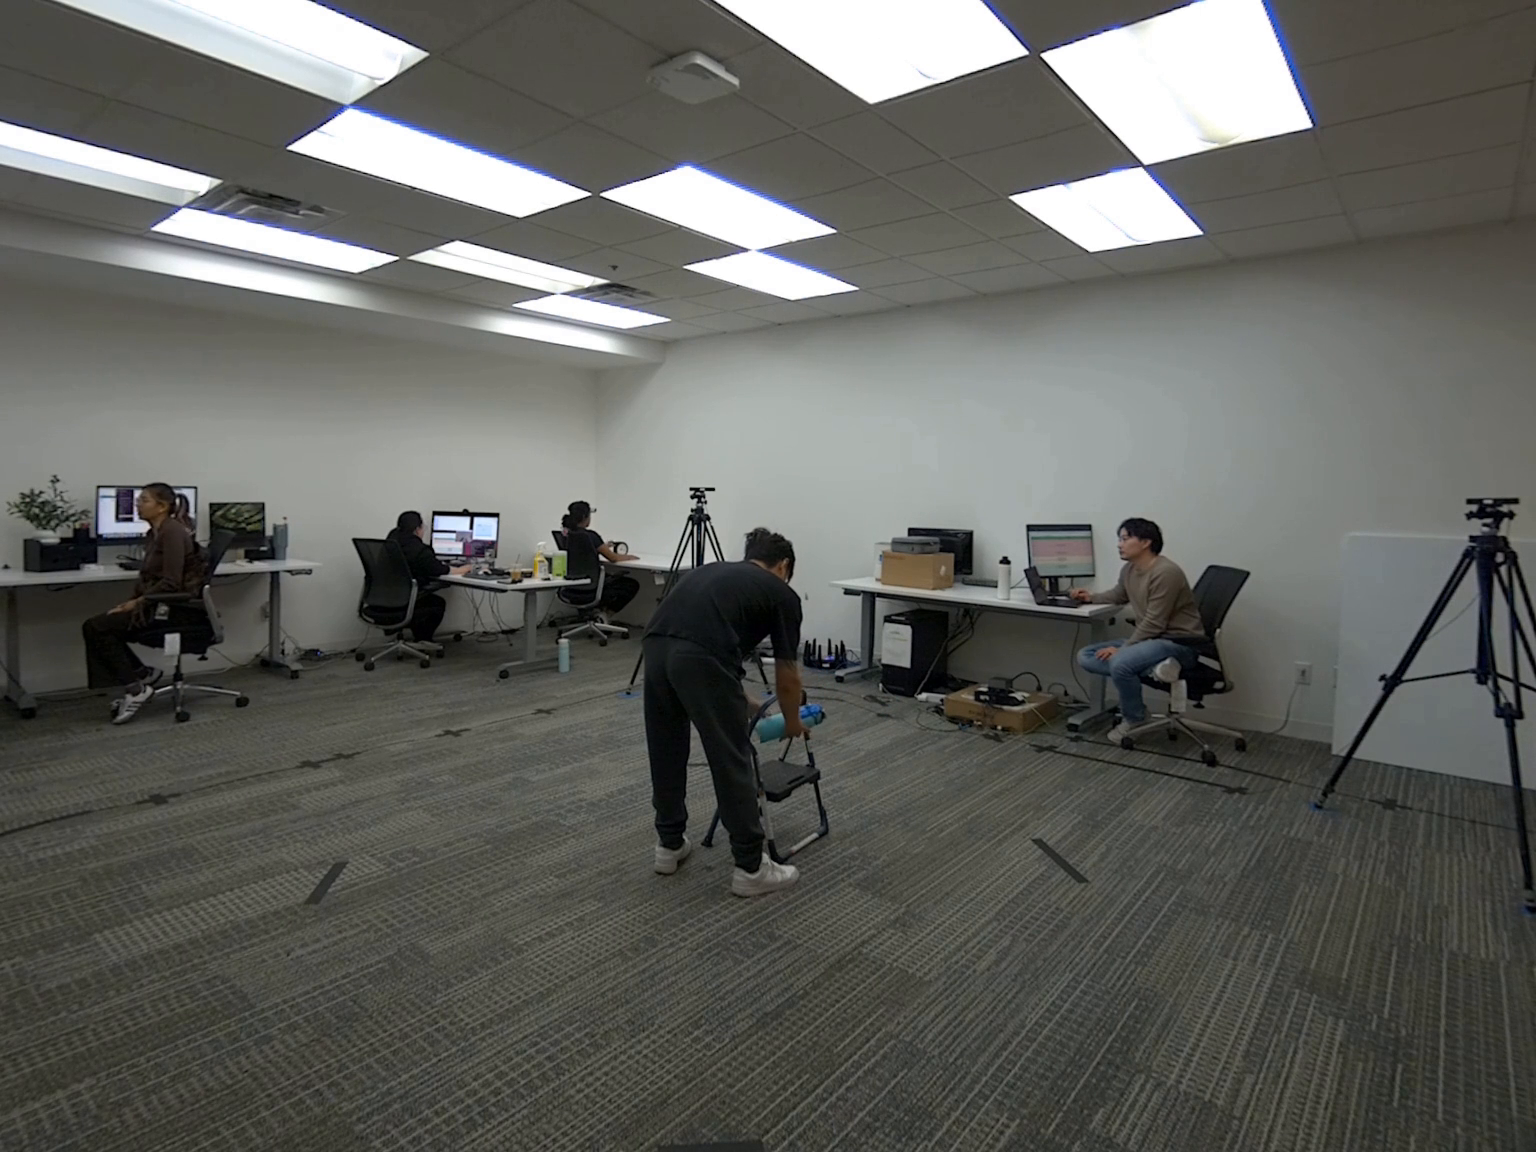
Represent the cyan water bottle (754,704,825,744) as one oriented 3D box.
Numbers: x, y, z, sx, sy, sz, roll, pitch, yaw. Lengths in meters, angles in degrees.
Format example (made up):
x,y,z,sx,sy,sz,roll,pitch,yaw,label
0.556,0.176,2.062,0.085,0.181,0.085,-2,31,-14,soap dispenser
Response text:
x,y,z,sx,sy,sz,roll,pitch,yaw,label
0.090,0.572,3.324,0.282,0.092,0.093,-16,6,-5,cyan water bottle
